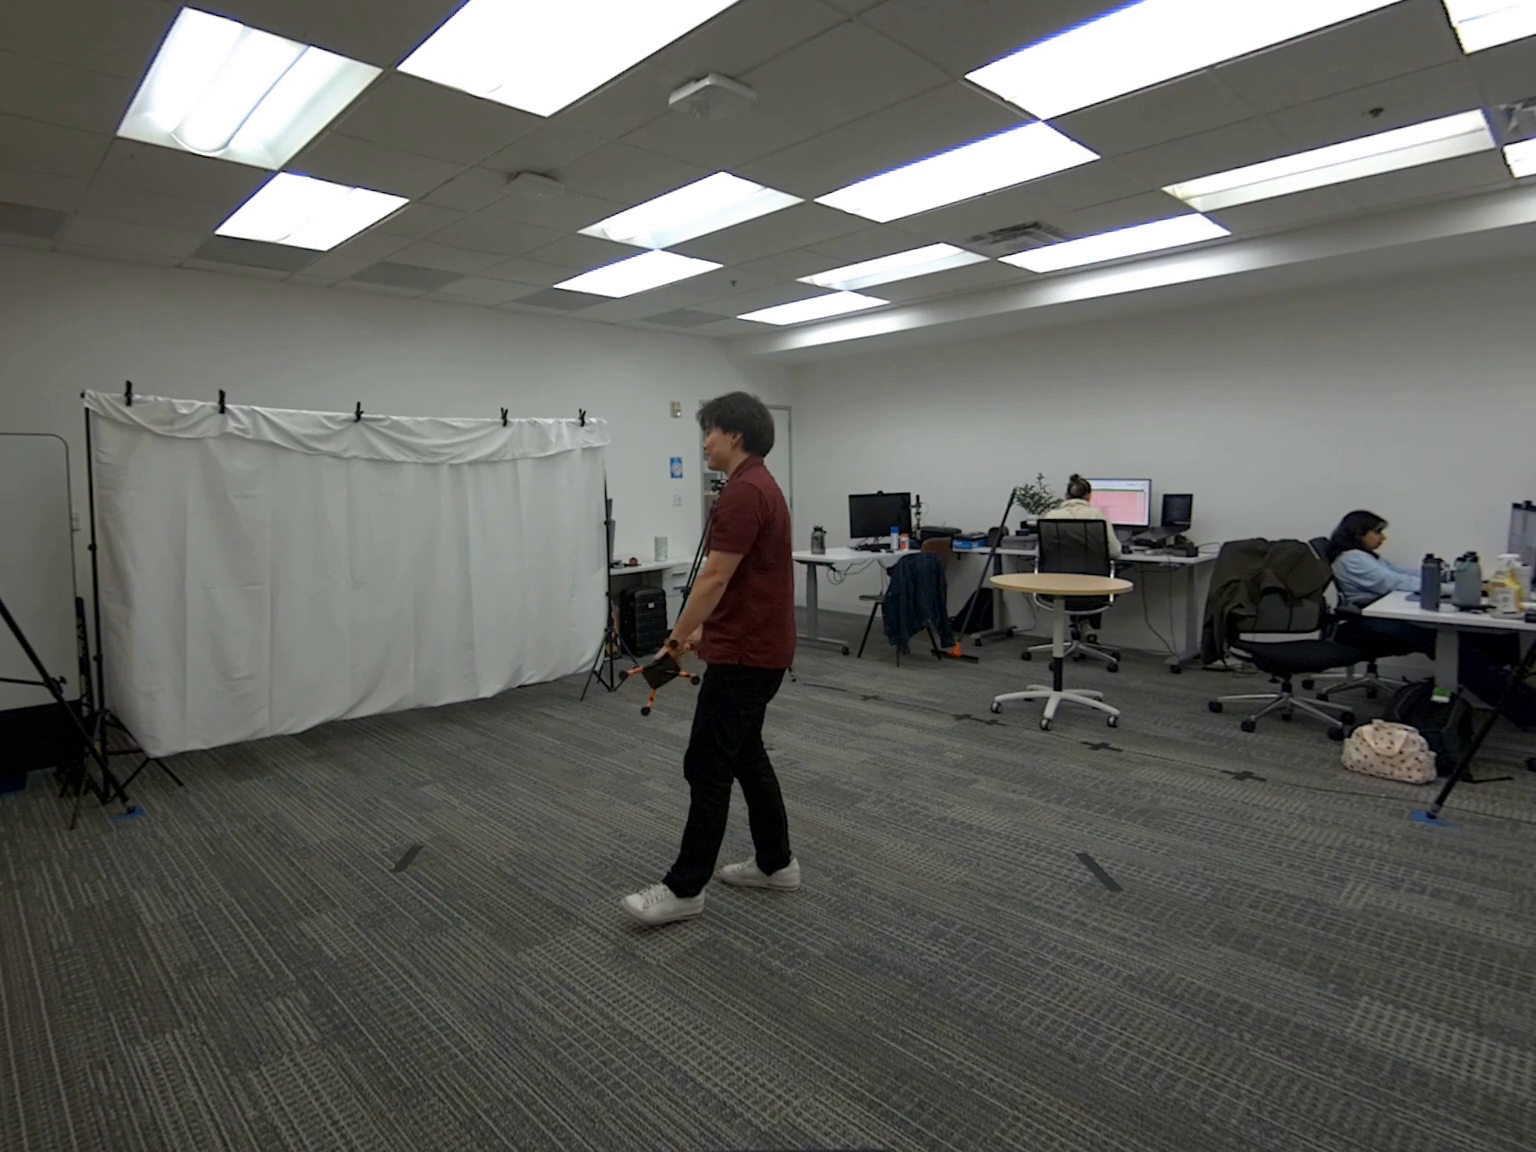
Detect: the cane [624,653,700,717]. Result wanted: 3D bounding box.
[{"bbox_3d":[-0.312,0.278,2.945,0.207,0.152,0.906,-36,1,4],"label":"cane"}]
